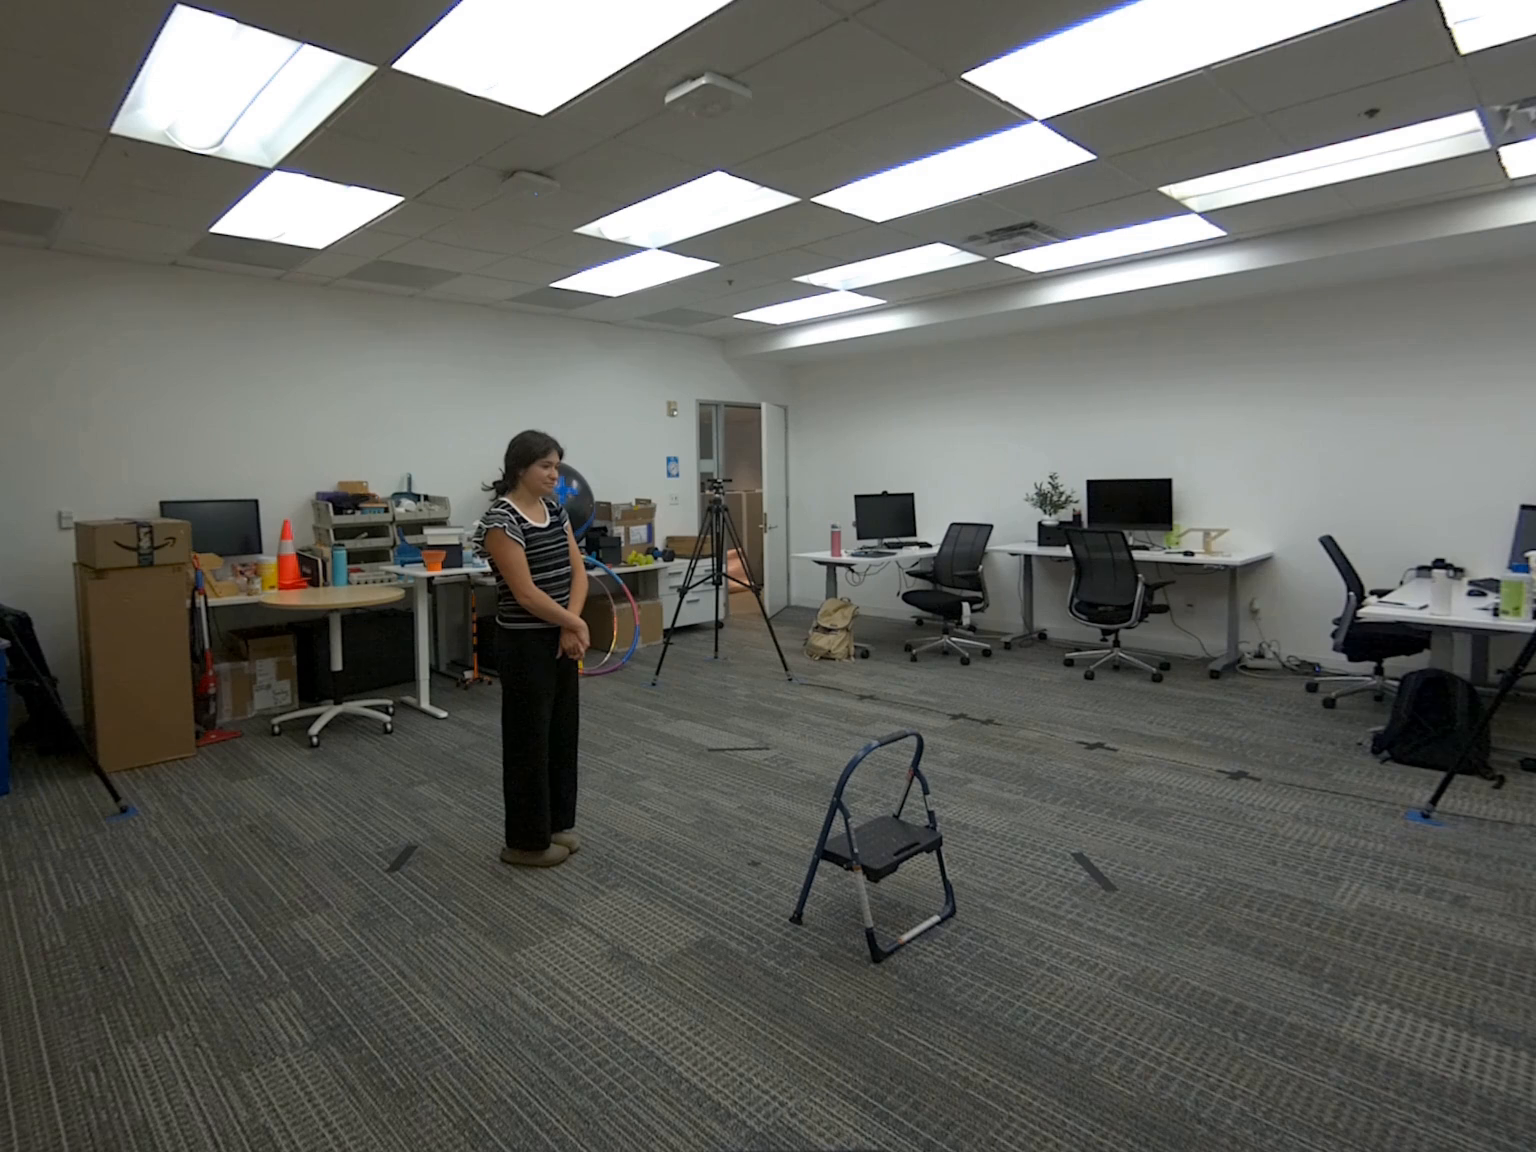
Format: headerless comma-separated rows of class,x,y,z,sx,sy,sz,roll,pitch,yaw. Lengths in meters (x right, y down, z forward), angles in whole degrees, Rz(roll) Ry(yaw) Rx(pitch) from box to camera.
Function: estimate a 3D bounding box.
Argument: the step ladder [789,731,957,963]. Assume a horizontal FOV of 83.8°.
step ladder,0.333,0.784,2.690,0.419,0.604,0.360,-5,6,-45
